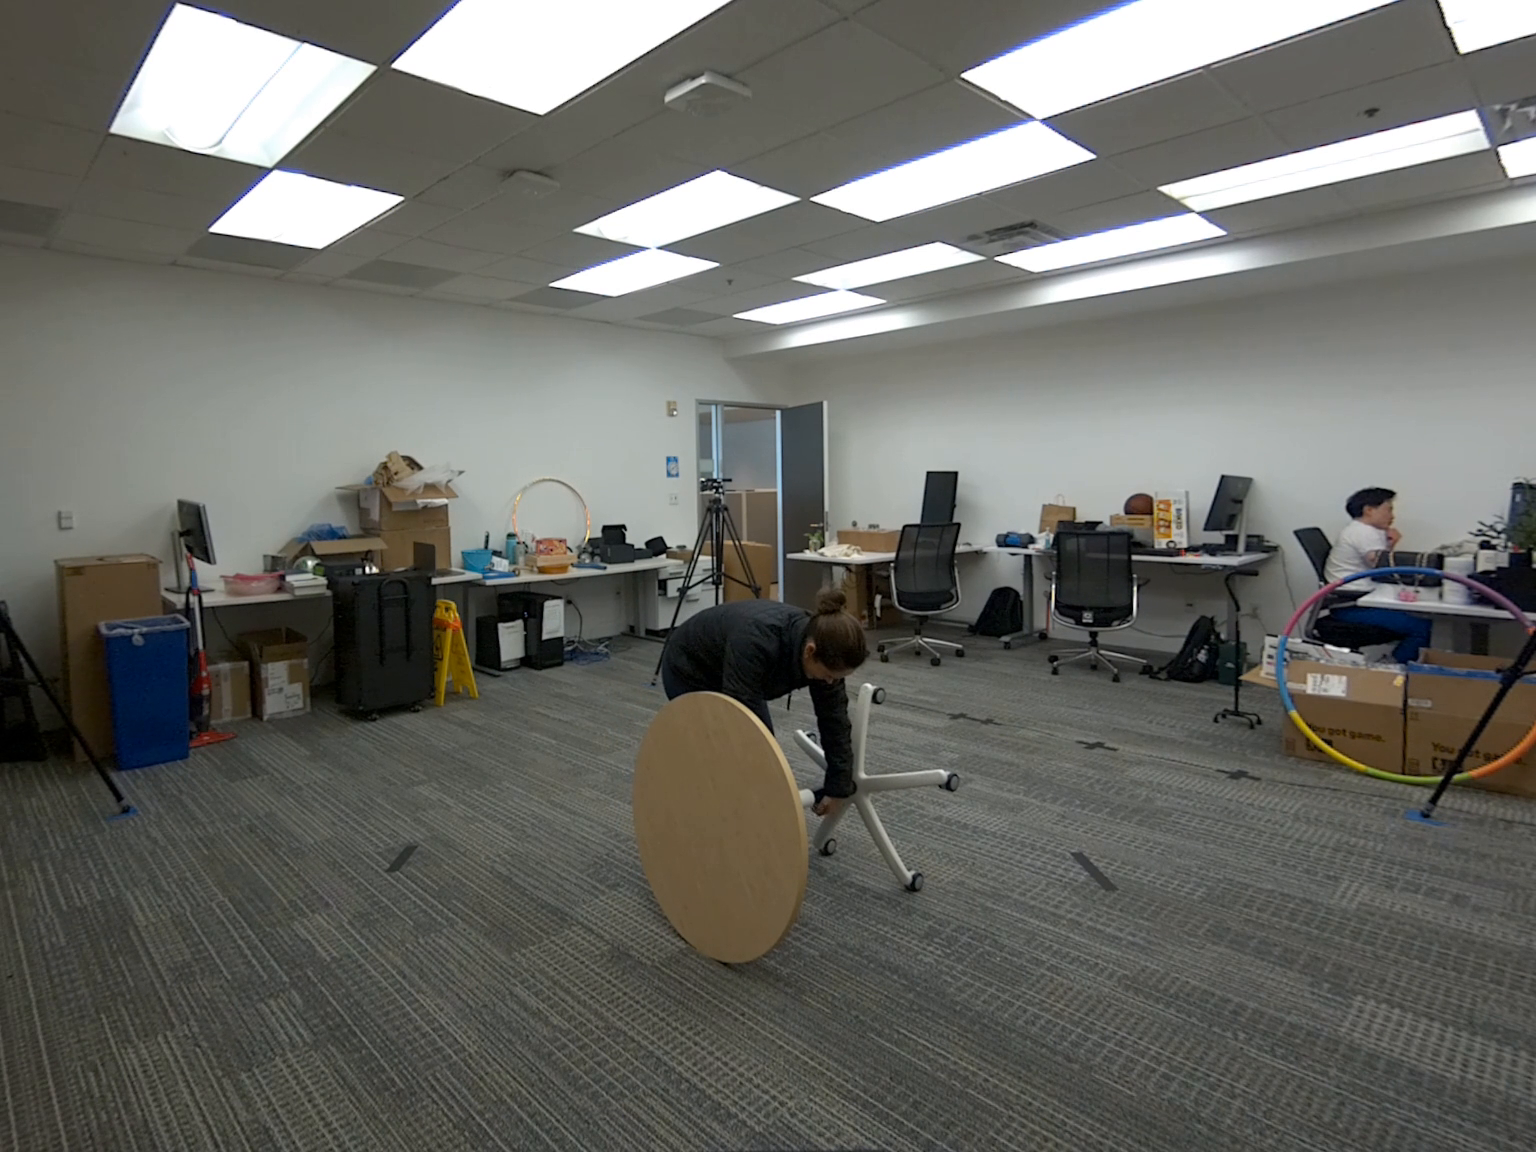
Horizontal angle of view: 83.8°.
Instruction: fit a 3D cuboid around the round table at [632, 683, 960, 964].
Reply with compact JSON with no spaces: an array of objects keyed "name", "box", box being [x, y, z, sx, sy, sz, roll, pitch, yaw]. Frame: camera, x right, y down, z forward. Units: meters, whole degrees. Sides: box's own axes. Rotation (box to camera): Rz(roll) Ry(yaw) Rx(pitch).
[{"name":"round table","box":[0.095,0.739,2.812,0.763,0.785,0.809,2,1,-44]}]
